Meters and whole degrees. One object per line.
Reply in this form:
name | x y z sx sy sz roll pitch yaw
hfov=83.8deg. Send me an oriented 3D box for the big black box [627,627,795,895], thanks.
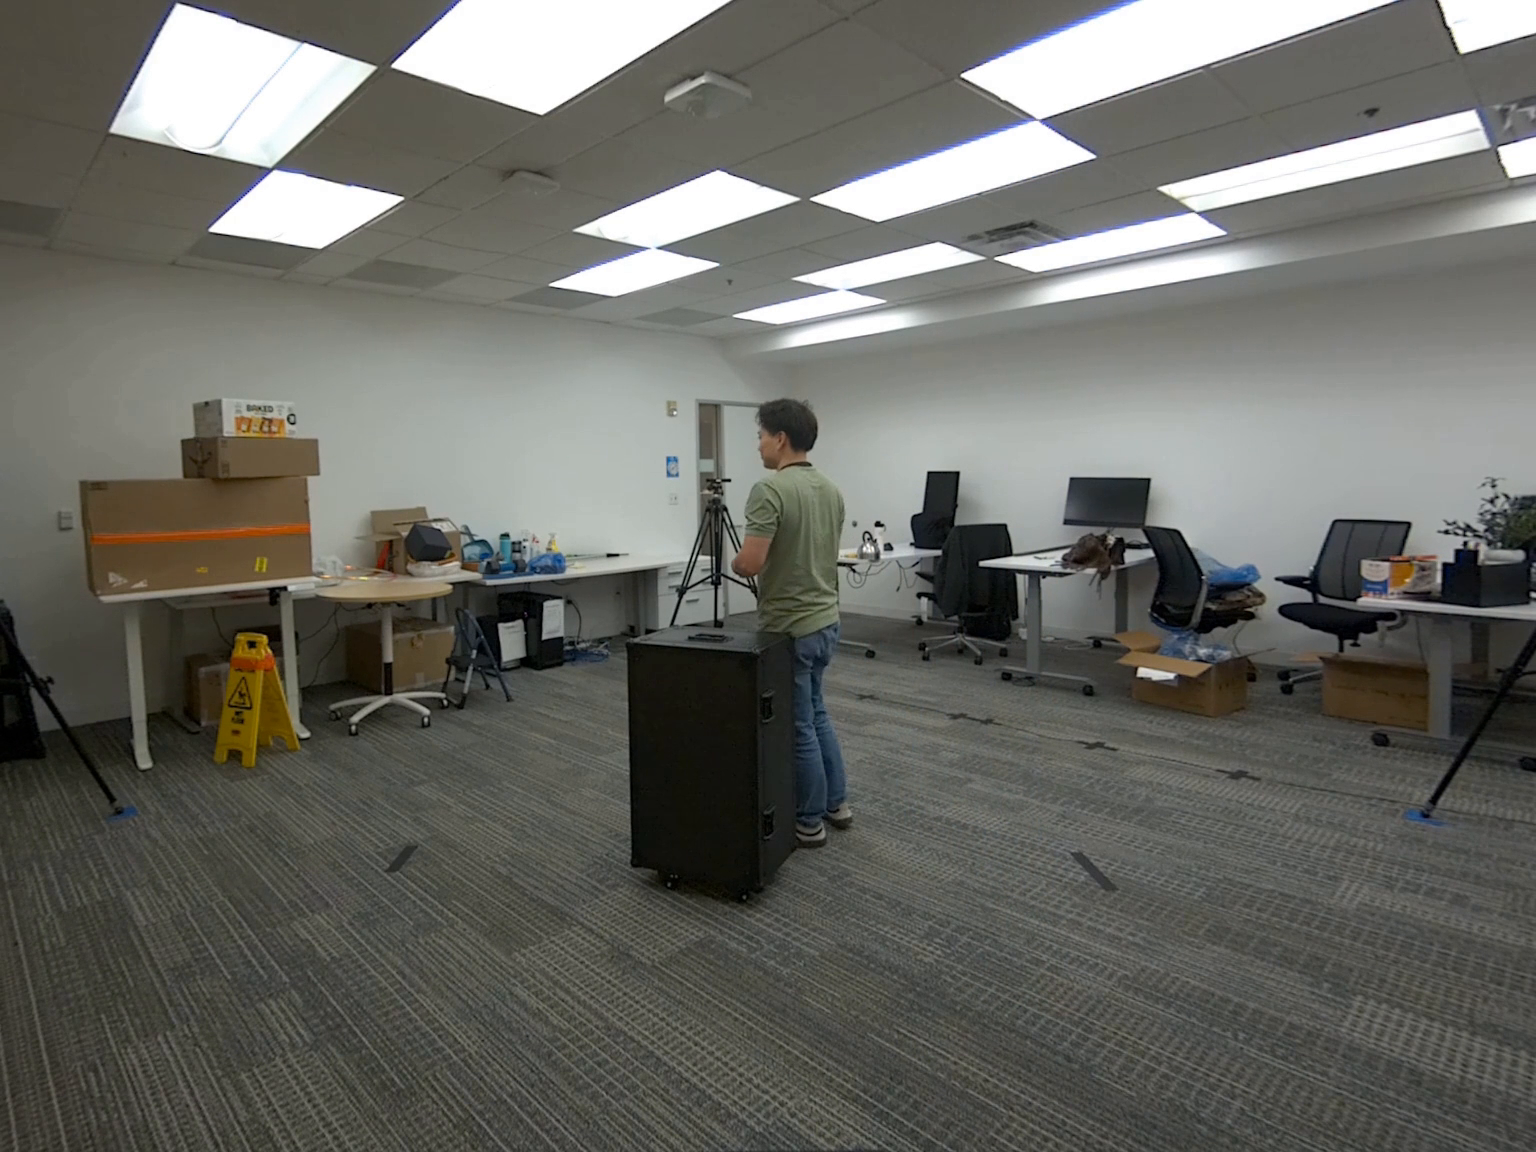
big black box | -0.190 0.632 2.984 0.533 0.859 0.389 1 4 24
